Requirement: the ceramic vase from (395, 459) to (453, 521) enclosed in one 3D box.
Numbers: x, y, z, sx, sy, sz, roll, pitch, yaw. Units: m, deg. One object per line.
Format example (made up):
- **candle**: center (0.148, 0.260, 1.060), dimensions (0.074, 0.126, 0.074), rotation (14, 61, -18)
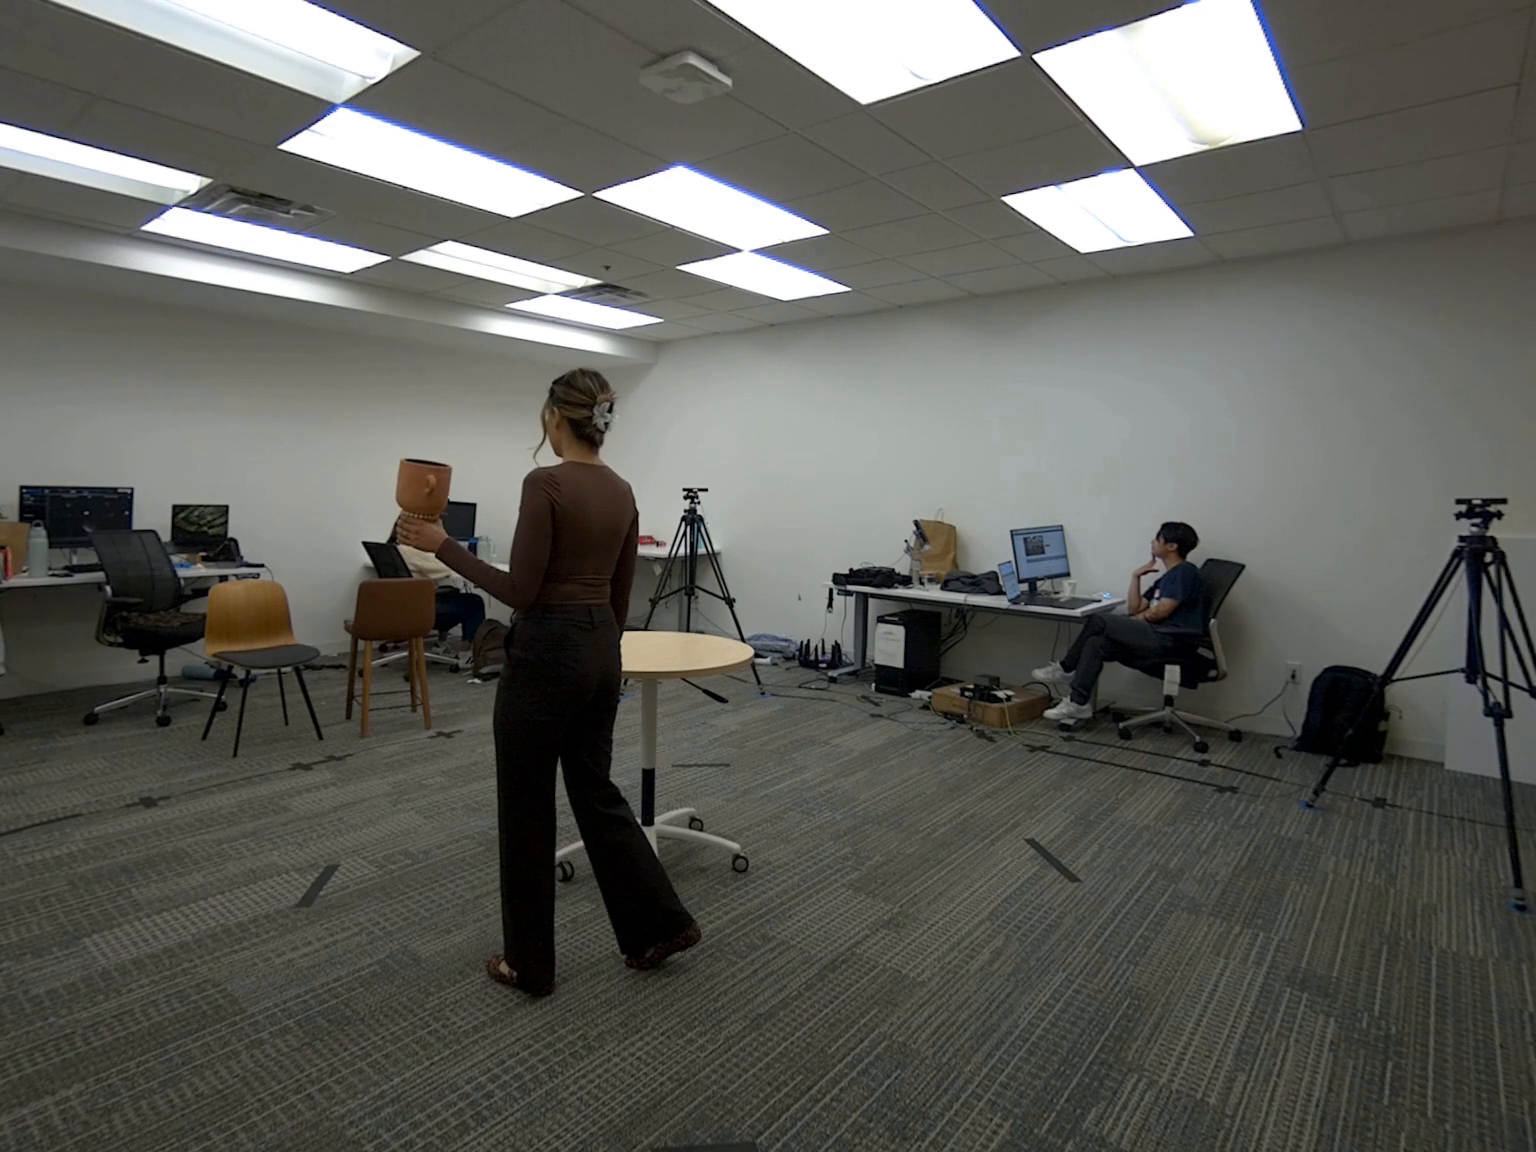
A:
- **ceramic vase**: center (-0.929, -0.196, 2.263), dimensions (0.135, 0.218, 0.158), rotation (11, 7, 4)
